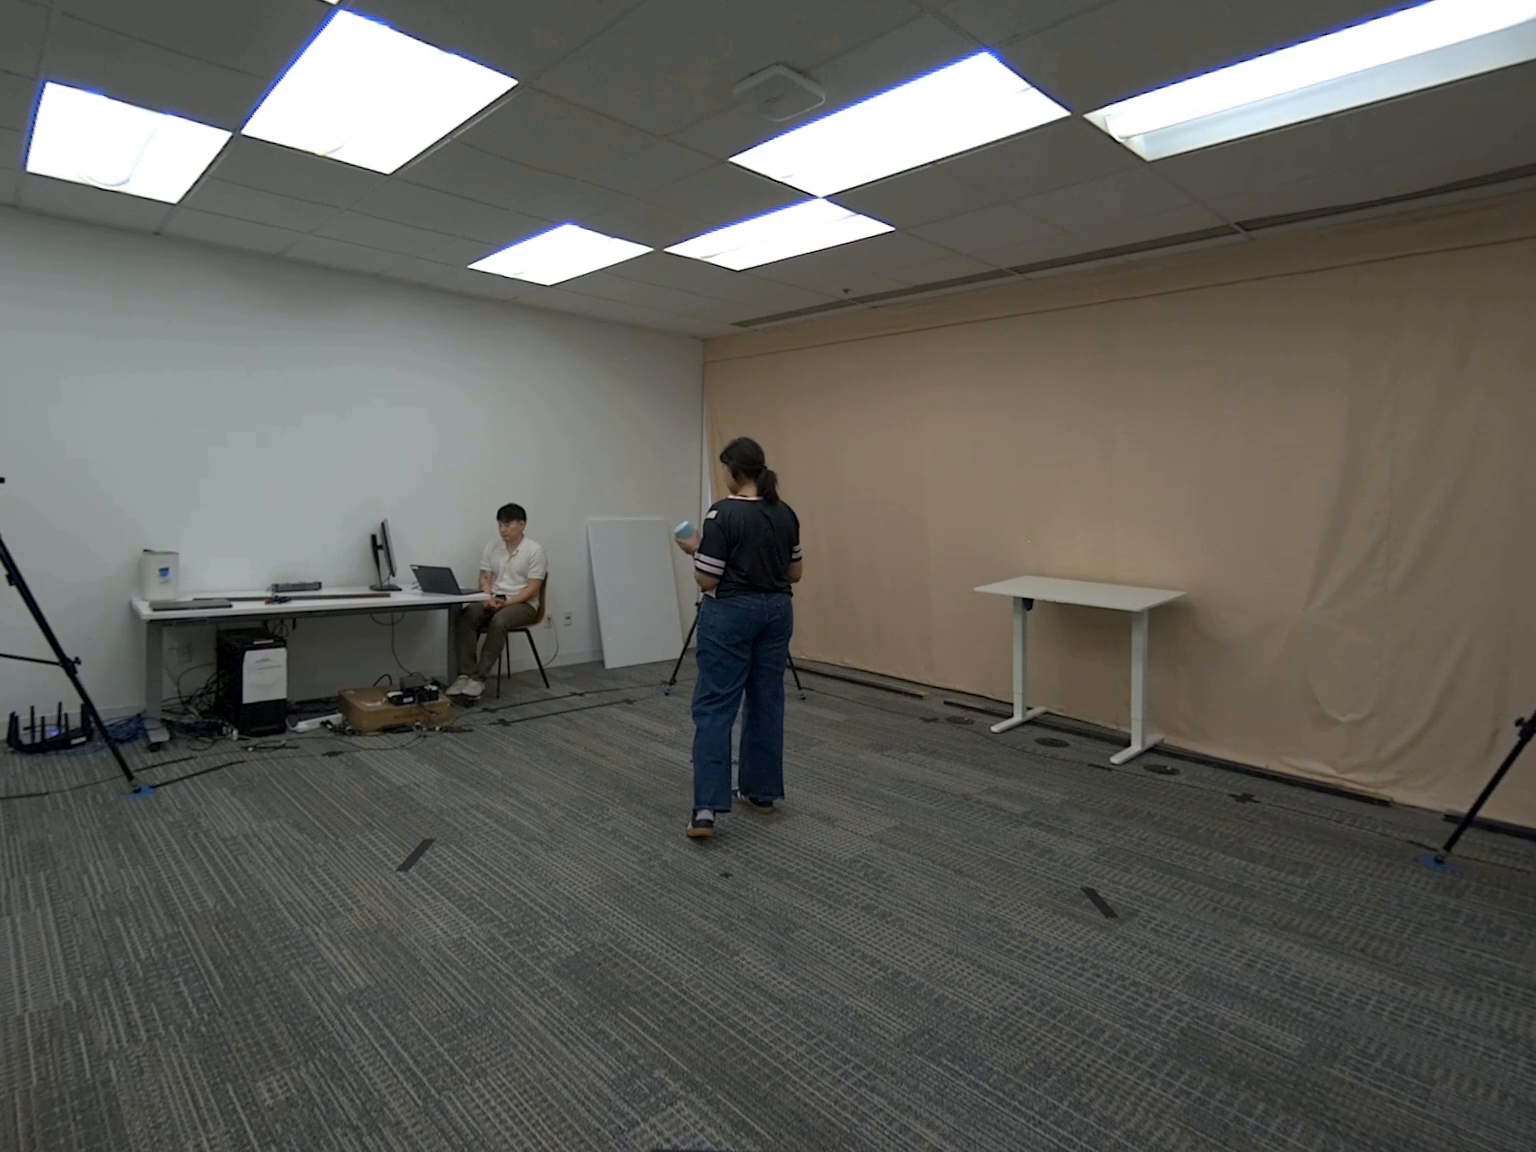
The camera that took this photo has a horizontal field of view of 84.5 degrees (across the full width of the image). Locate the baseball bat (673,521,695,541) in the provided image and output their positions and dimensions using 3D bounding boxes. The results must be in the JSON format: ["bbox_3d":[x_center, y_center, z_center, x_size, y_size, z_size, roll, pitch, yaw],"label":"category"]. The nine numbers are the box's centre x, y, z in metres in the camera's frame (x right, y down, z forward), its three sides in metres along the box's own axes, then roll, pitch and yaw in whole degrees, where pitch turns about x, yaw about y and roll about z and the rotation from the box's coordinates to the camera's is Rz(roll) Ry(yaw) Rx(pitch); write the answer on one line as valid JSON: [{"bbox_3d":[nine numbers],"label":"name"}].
[{"bbox_3d":[-0.240,-0.019,3.895,0.089,0.533,0.090,-34,19,13],"label":"baseball bat"}]
